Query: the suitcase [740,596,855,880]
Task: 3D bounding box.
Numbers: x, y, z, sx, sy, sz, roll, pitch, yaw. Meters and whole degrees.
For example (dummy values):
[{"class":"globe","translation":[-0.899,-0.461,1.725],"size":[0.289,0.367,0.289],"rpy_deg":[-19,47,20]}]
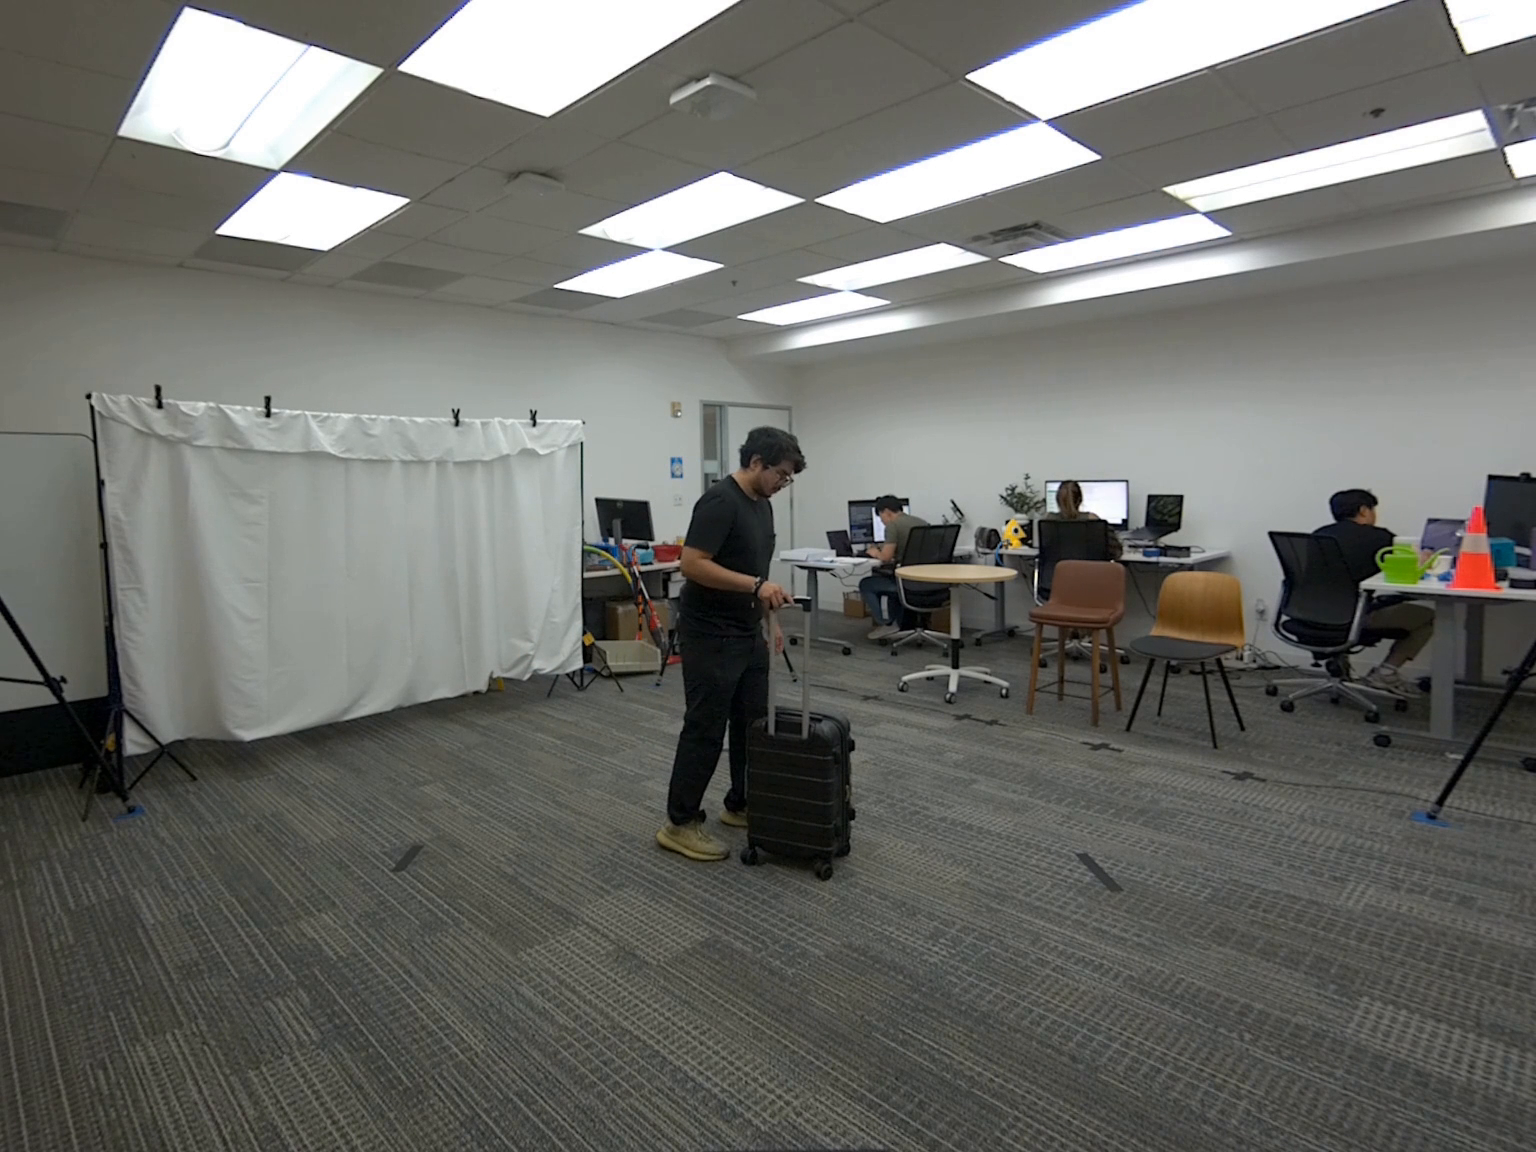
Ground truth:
[{"class":"suitcase","translation":[0.122,0.567,3.133],"size":[0.392,0.977,0.252],"rpy_deg":[1,1,24]}]
